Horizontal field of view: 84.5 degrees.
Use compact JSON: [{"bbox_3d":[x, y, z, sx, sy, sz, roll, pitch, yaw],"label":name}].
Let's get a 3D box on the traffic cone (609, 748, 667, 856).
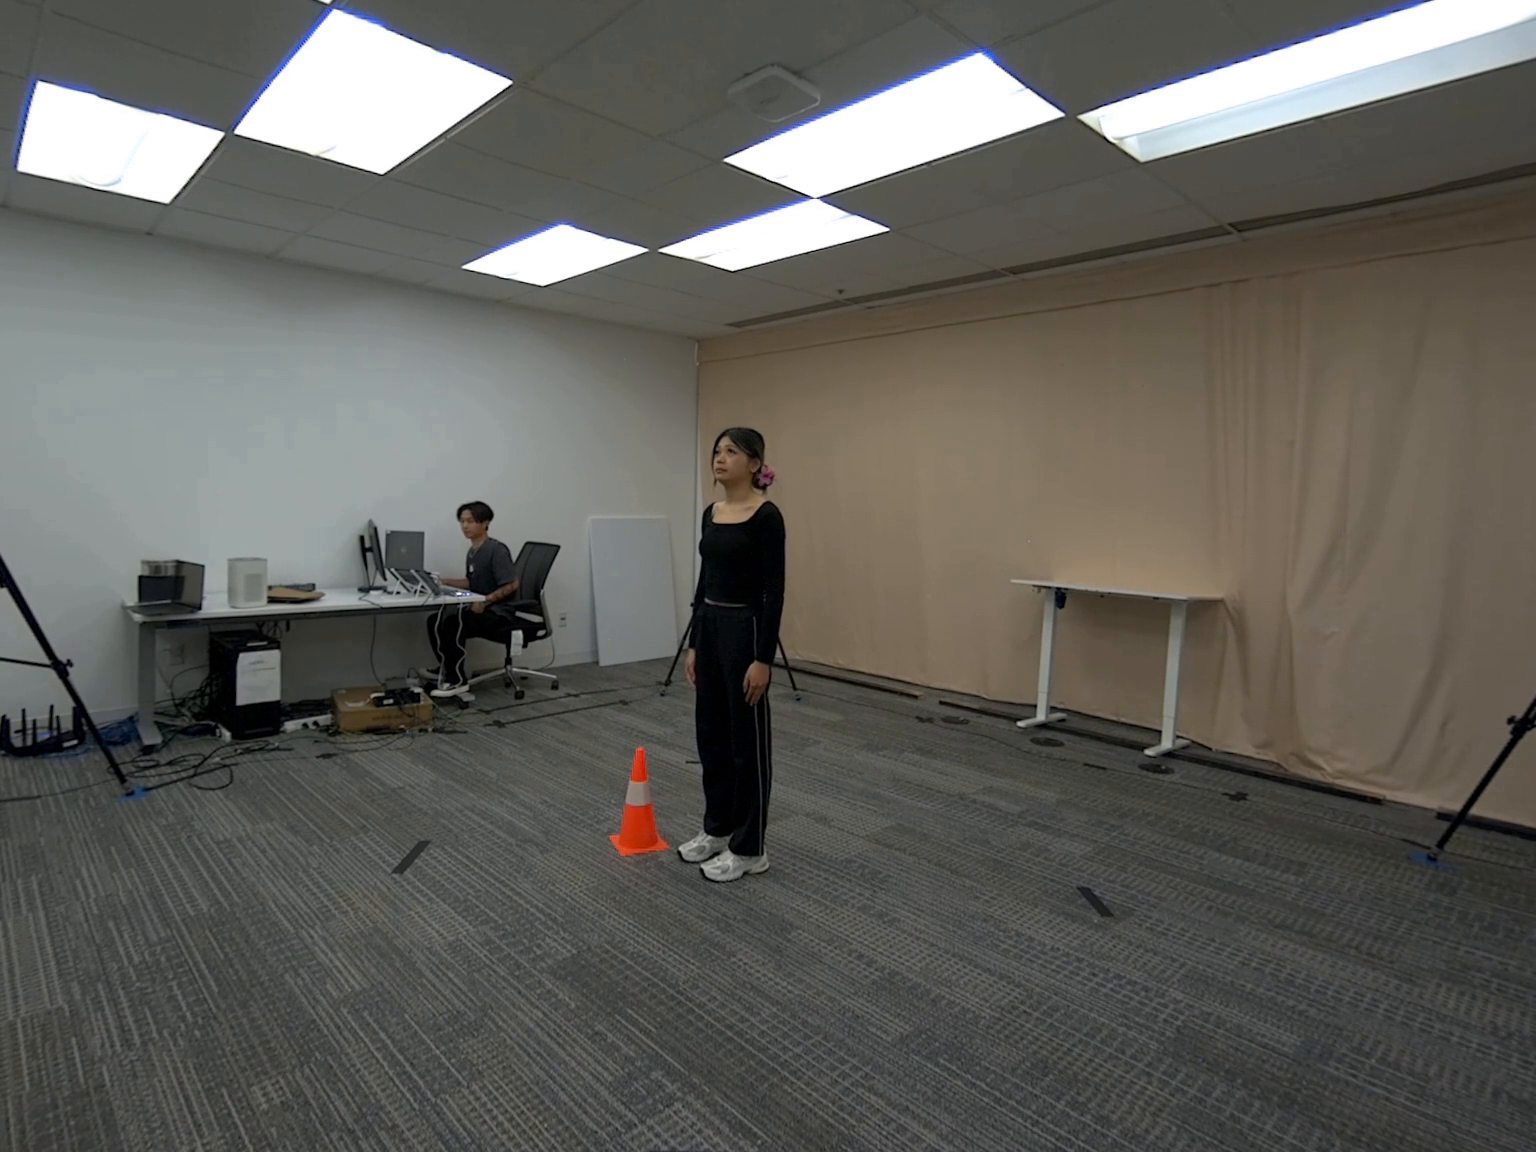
[{"bbox_3d":[-0.517,0.882,3.381,0.201,0.383,0.207,1,3,-26],"label":"traffic cone"}]
